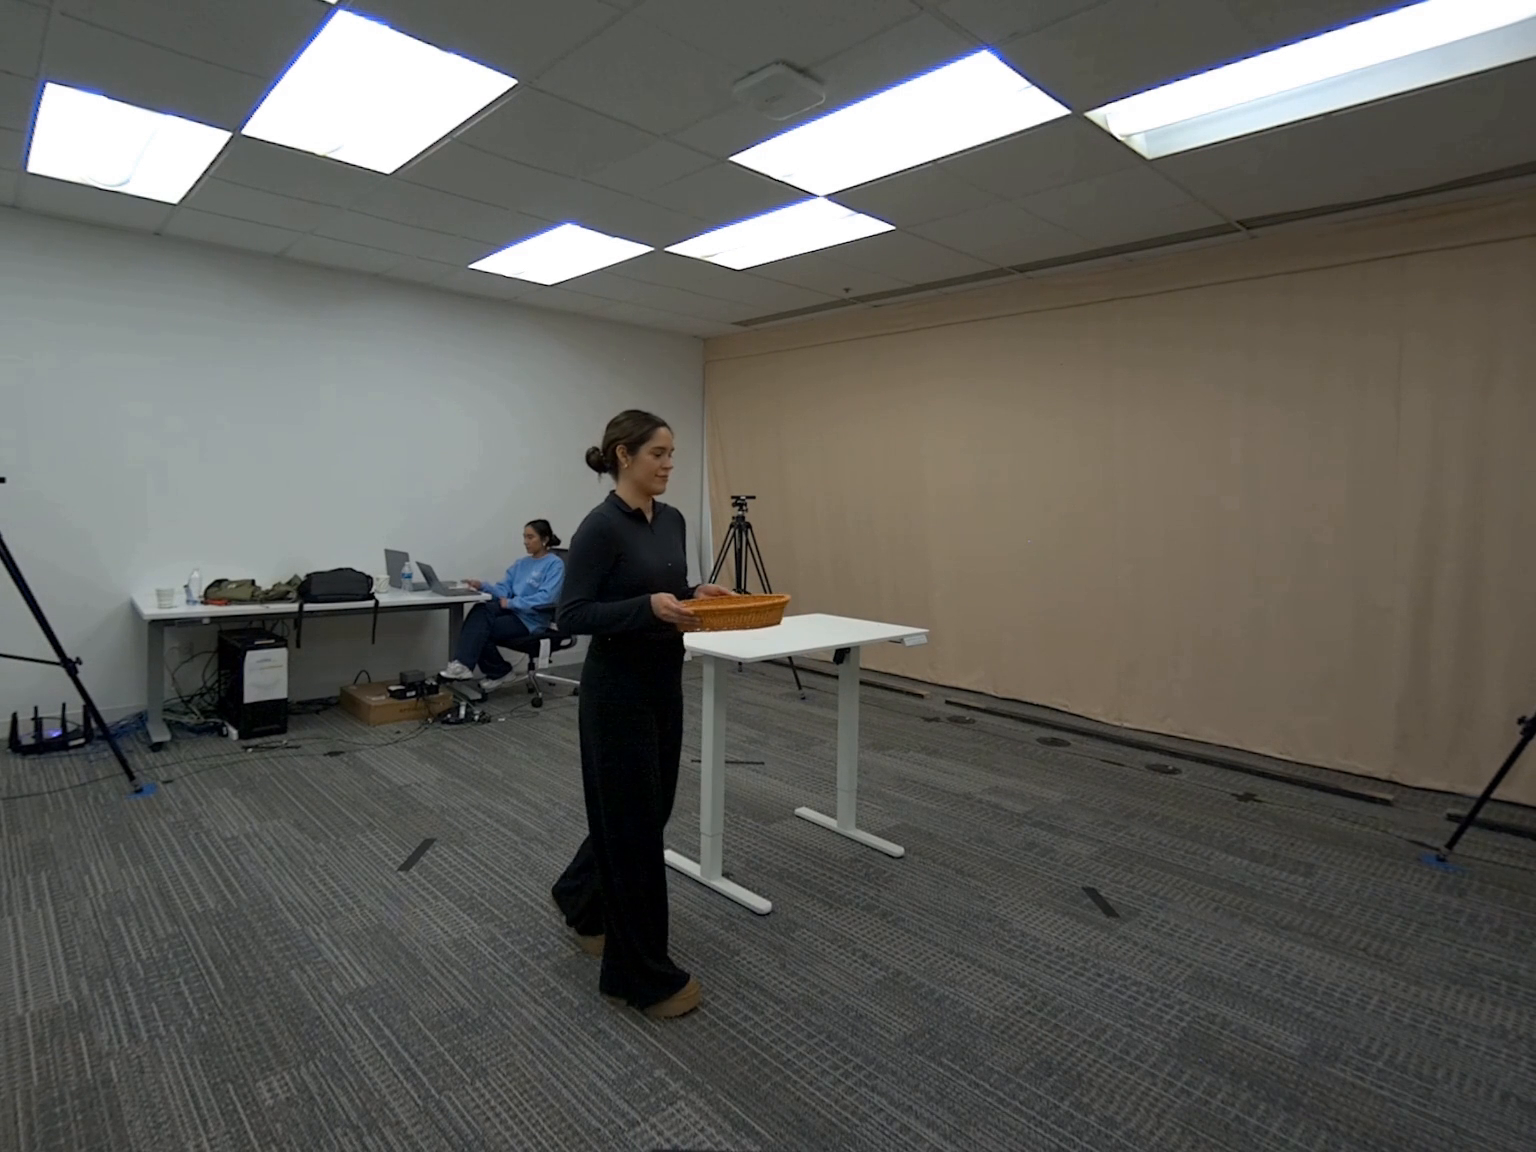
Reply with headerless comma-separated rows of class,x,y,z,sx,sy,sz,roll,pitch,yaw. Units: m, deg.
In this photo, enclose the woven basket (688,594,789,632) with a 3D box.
woven basket,-0.113,0.107,2.207,0.247,0.073,0.358,-8,6,-34
